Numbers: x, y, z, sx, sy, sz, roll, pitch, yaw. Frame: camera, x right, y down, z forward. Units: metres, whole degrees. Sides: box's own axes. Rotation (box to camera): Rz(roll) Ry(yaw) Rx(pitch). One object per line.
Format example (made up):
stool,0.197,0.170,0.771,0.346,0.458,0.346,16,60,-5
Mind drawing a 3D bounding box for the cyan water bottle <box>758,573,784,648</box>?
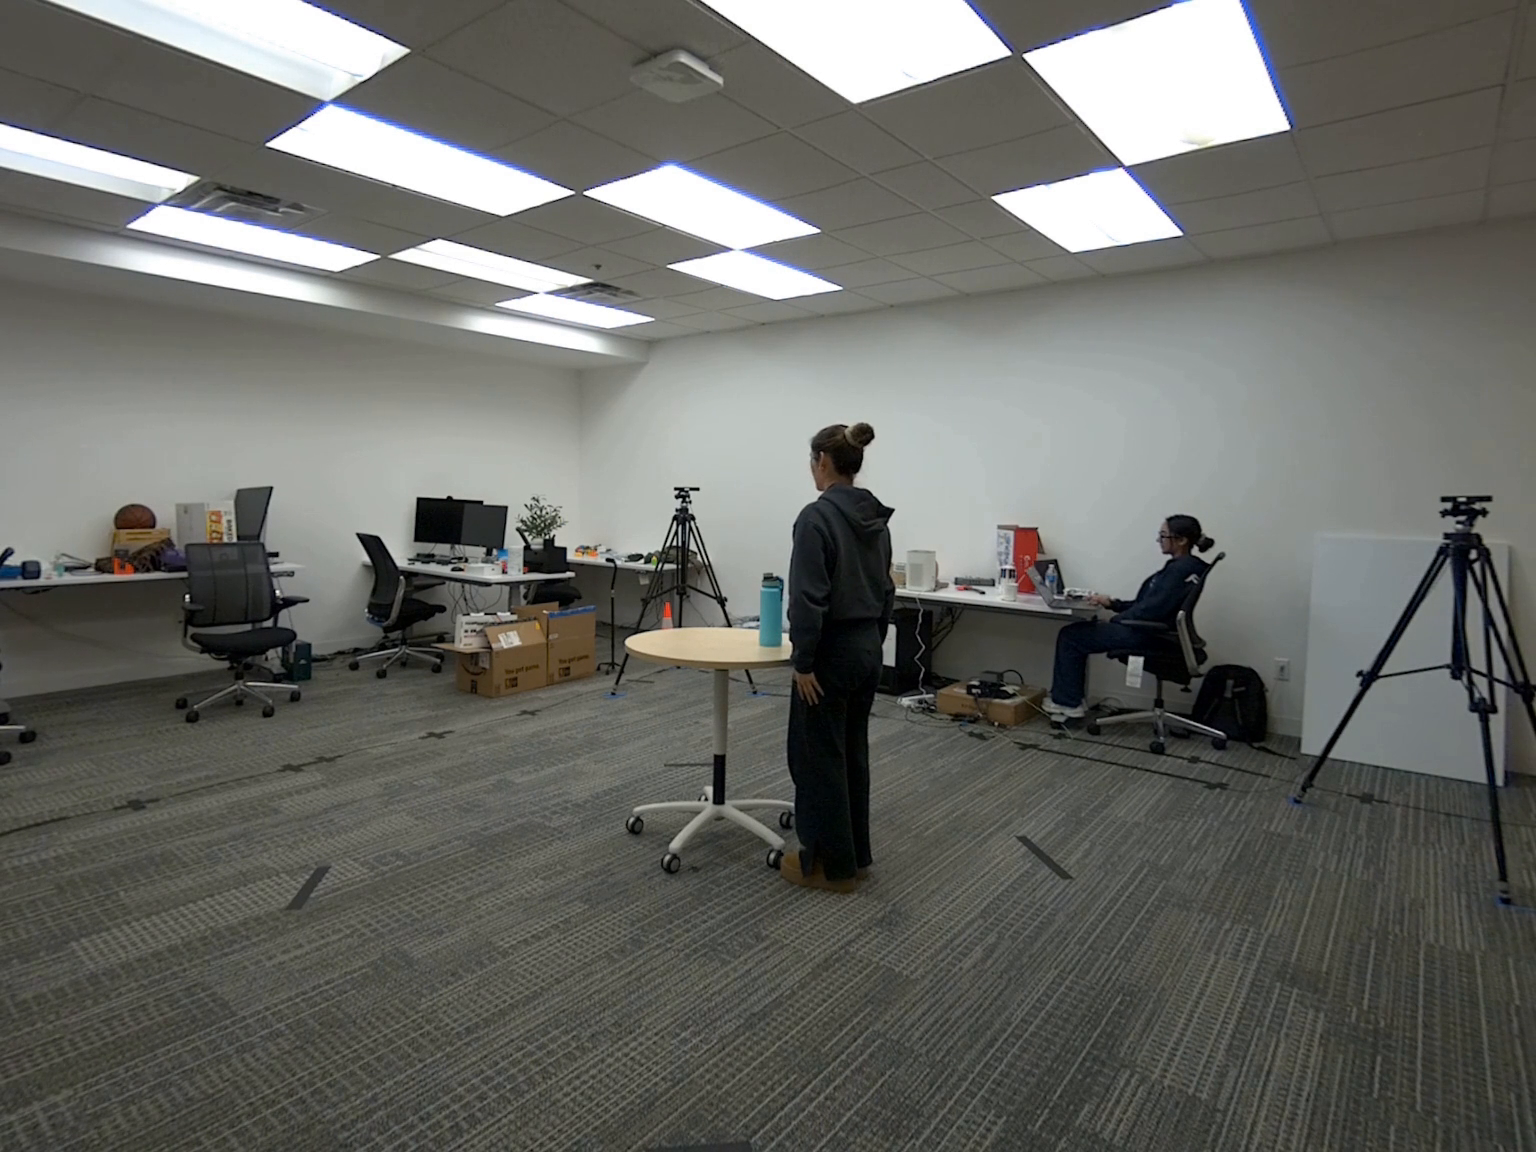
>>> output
cyan water bottle,0.012,0.126,3.331,0.092,0.282,0.093,3,3,-2
